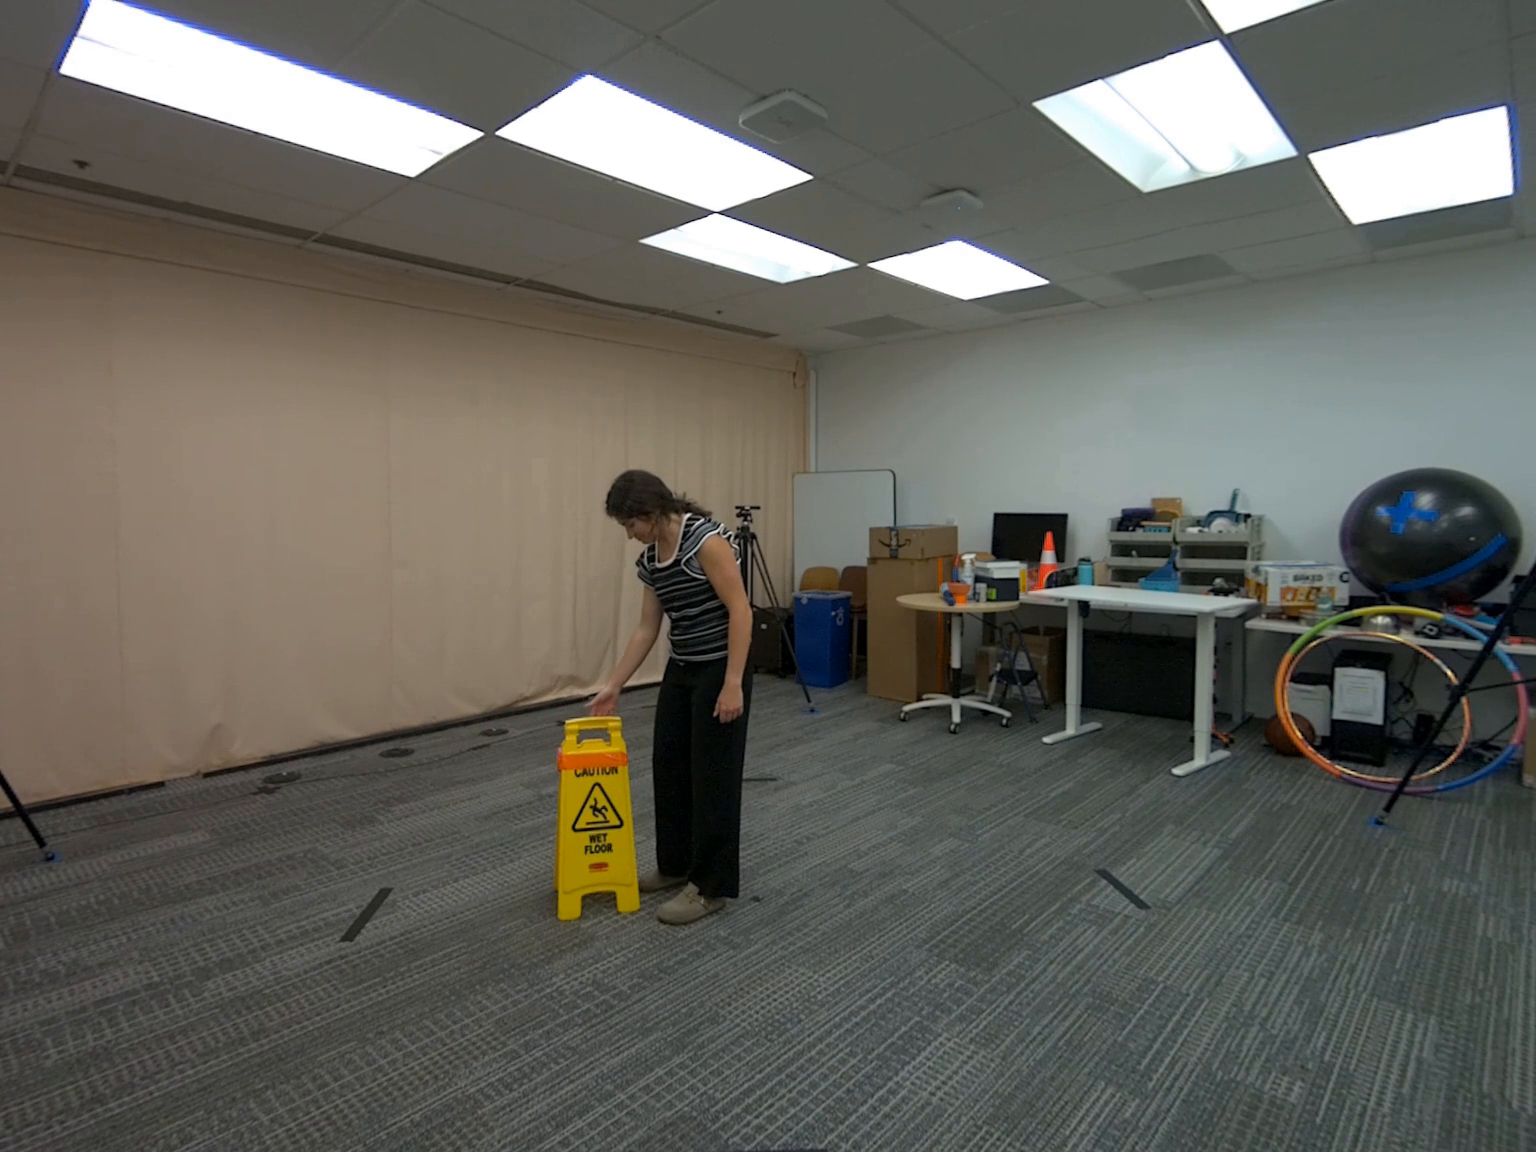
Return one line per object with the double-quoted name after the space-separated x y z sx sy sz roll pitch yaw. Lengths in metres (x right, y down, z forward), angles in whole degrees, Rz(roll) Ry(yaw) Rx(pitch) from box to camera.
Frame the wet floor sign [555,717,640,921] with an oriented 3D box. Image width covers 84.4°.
-0.616 0.826 2.978 0.278 0.645 0.294 -1 2 -15 "wet floor sign"
